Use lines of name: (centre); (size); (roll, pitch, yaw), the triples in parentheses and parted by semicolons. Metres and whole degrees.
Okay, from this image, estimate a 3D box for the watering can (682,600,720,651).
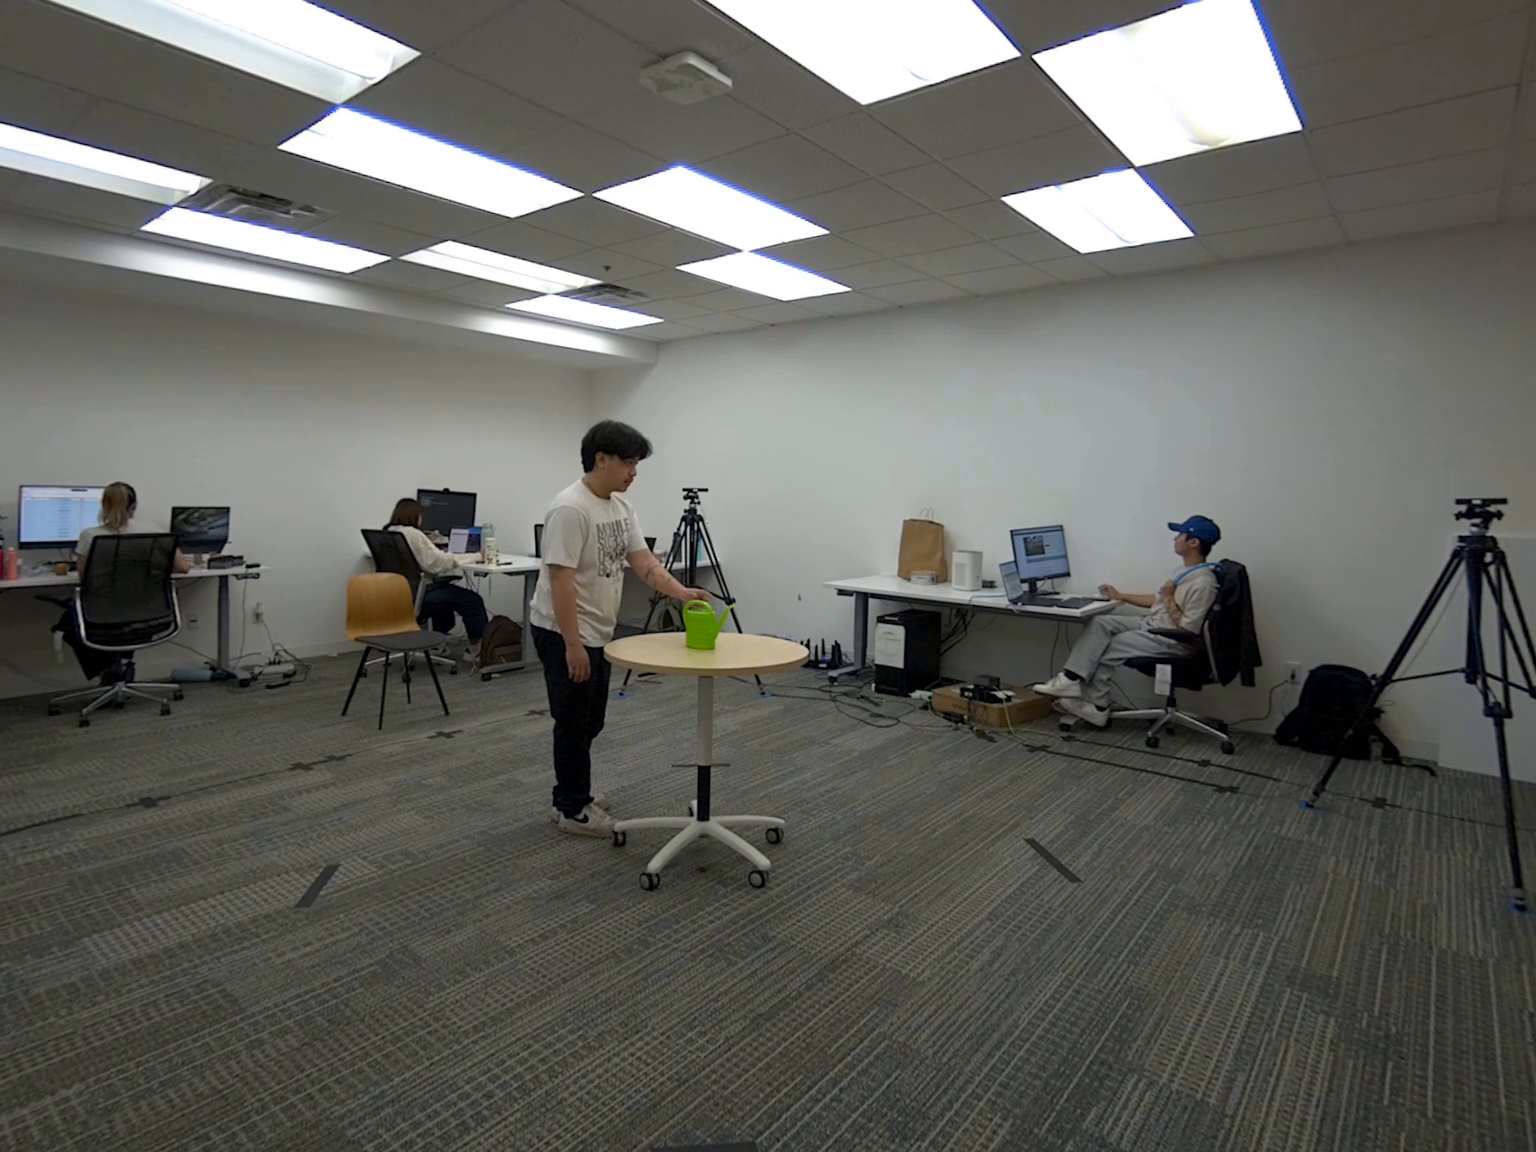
watering can: (-0.242, 0.184, 3.182); (0.095, 0.176, 0.287); (-3, 3, -35)
